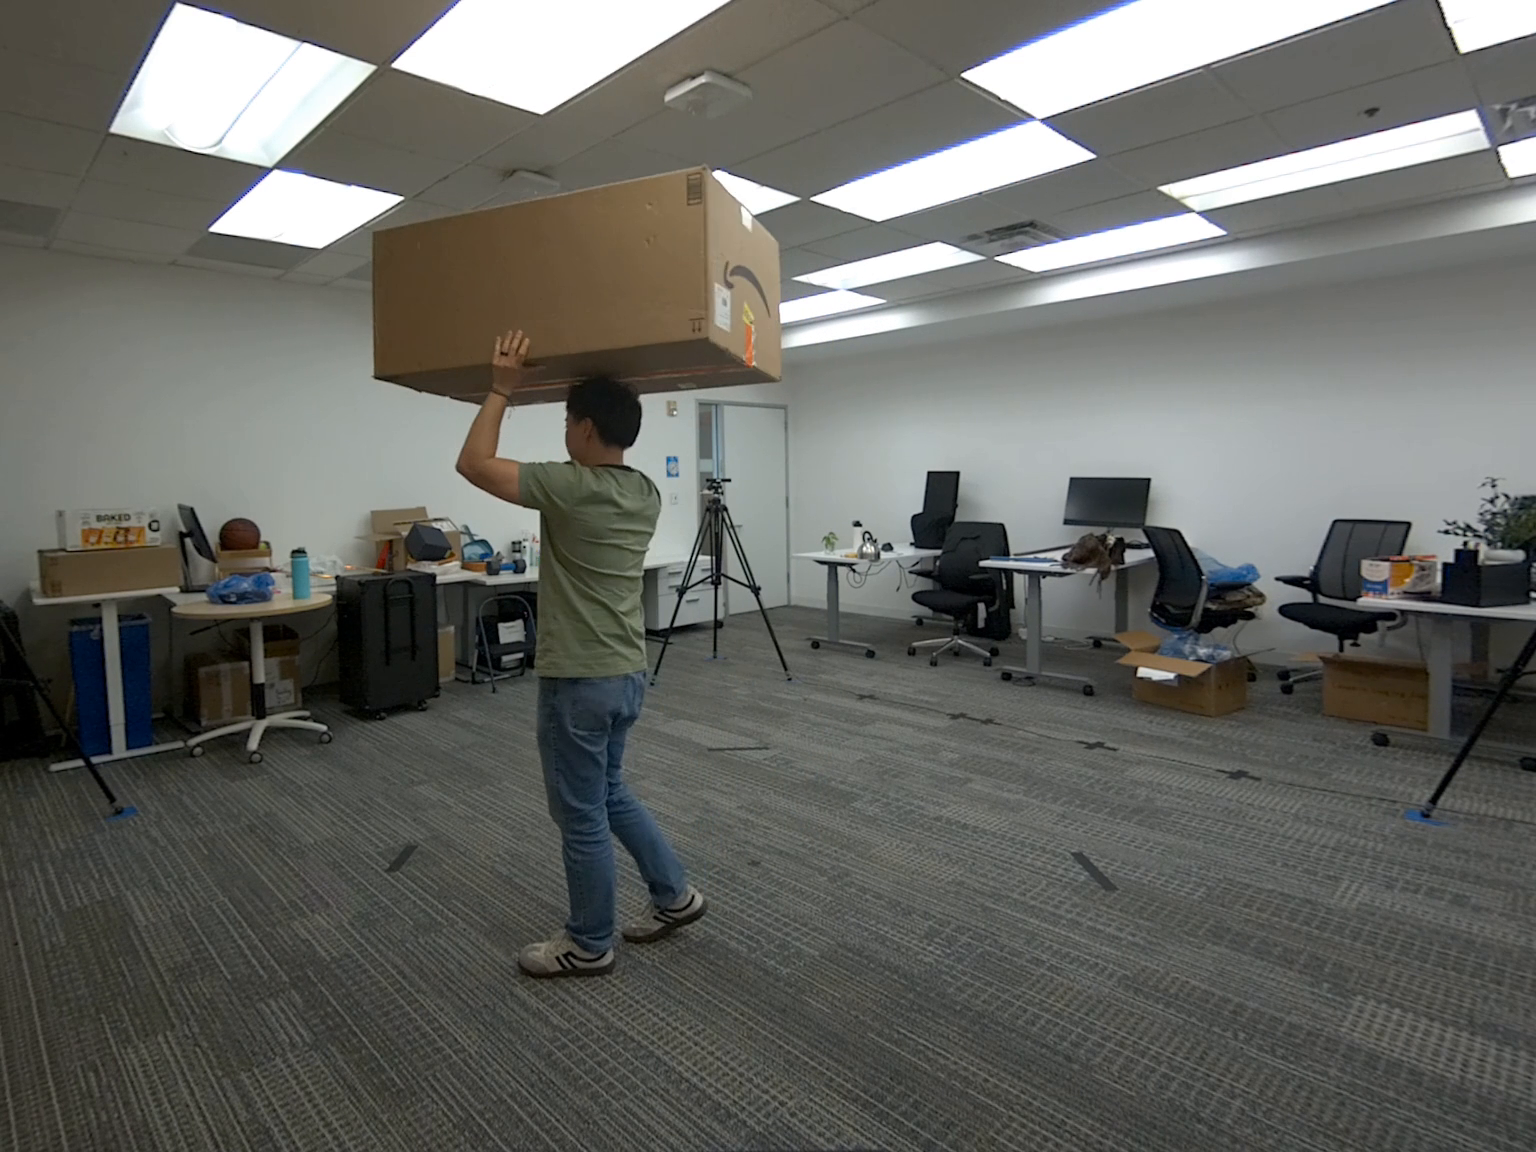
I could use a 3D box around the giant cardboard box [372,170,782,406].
[{"bbox_3d":[-0.536,-0.777,2.484,1.046,0.426,0.566,-1,1,21],"label":"giant cardboard box"}]
